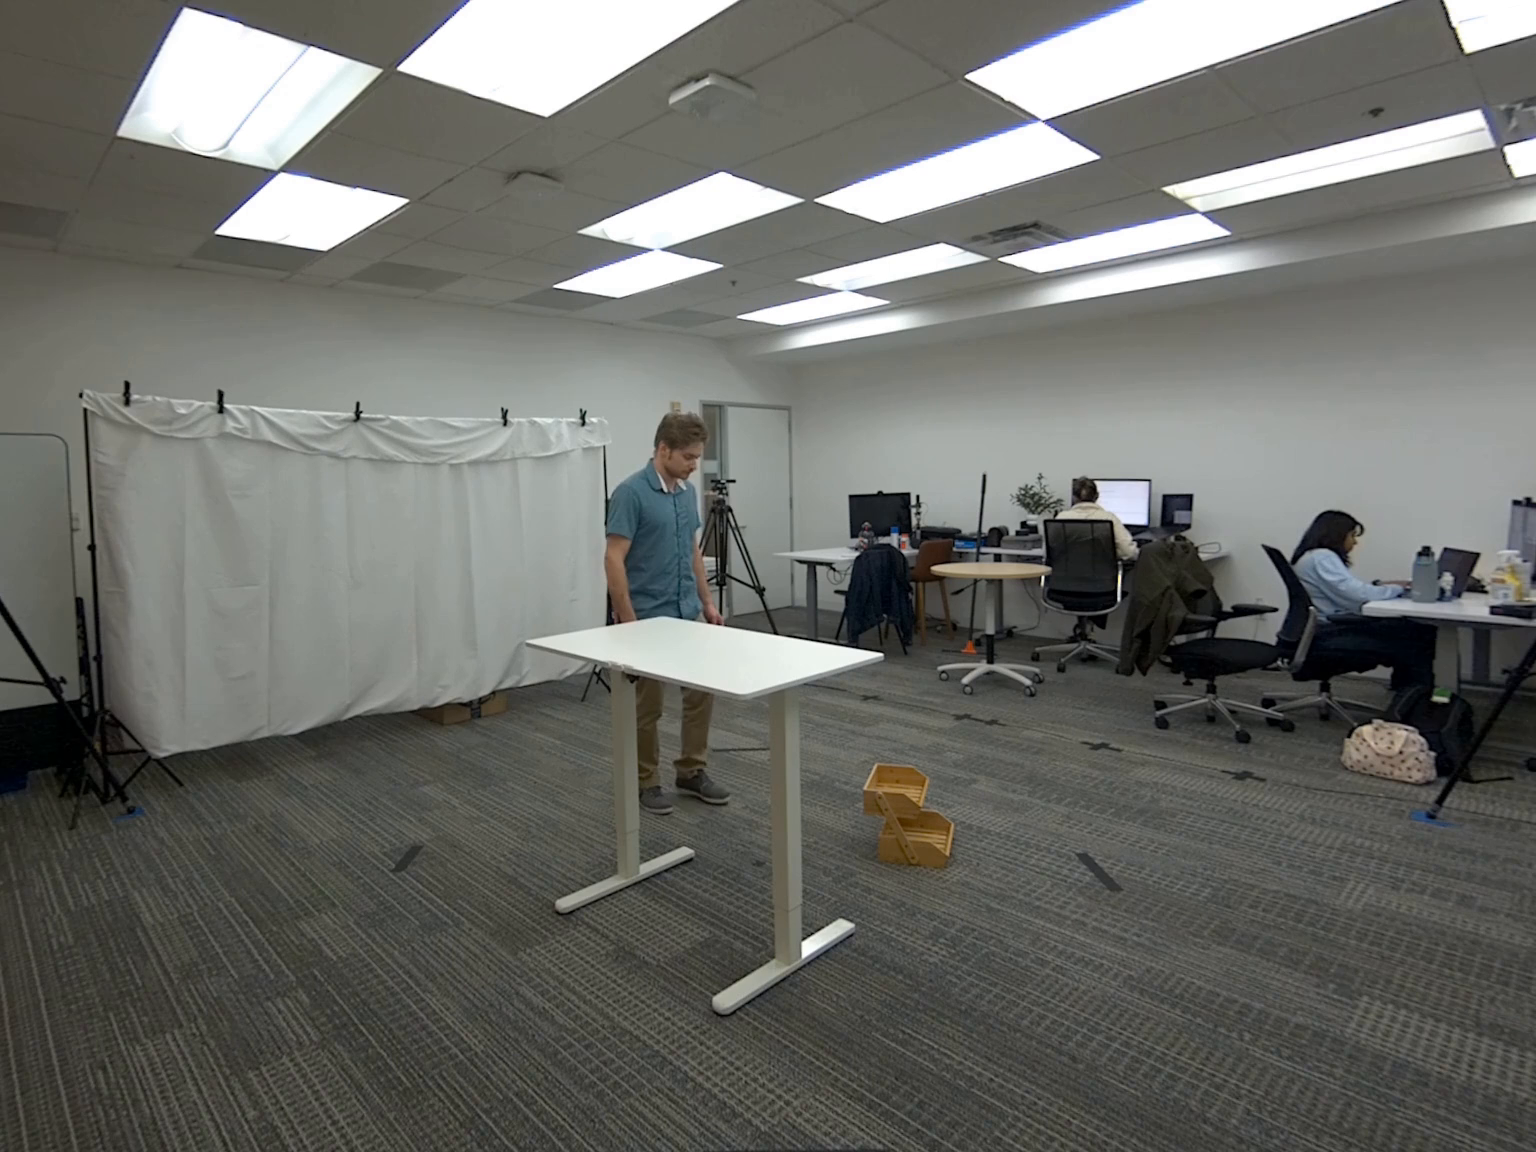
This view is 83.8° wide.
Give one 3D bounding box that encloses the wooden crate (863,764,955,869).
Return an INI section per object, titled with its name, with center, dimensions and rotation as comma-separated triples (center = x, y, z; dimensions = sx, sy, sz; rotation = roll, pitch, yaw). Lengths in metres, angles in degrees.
[wooden crate]
center = 0.543, 0.892, 3.222
dimensions = 0.307, 0.272, 0.320
rotation = 0, 5, 17
